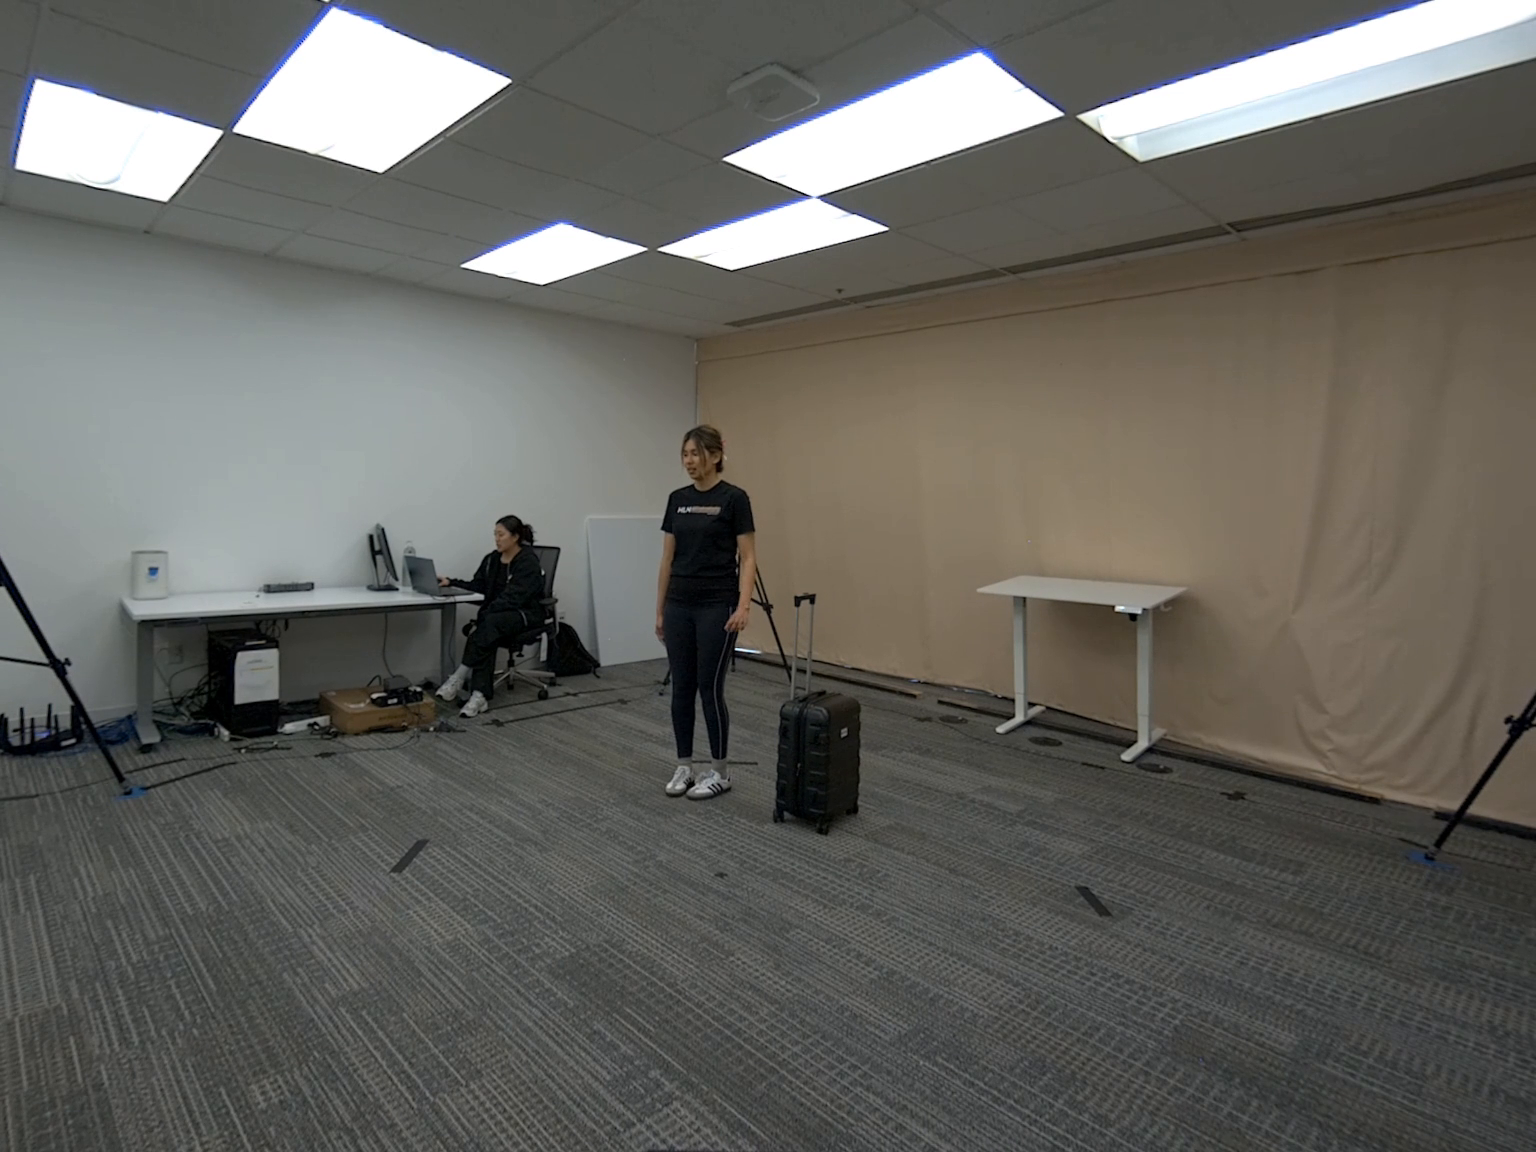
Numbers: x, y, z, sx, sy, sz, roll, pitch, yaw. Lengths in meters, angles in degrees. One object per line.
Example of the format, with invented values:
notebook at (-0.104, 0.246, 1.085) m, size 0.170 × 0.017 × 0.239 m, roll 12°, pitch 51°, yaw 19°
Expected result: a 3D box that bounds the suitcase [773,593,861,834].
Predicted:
suitcase at (0.228, 0.585, 3.657) m, size 0.263 × 0.976 × 0.376 m, roll 5°, pitch 4°, yaw 32°
